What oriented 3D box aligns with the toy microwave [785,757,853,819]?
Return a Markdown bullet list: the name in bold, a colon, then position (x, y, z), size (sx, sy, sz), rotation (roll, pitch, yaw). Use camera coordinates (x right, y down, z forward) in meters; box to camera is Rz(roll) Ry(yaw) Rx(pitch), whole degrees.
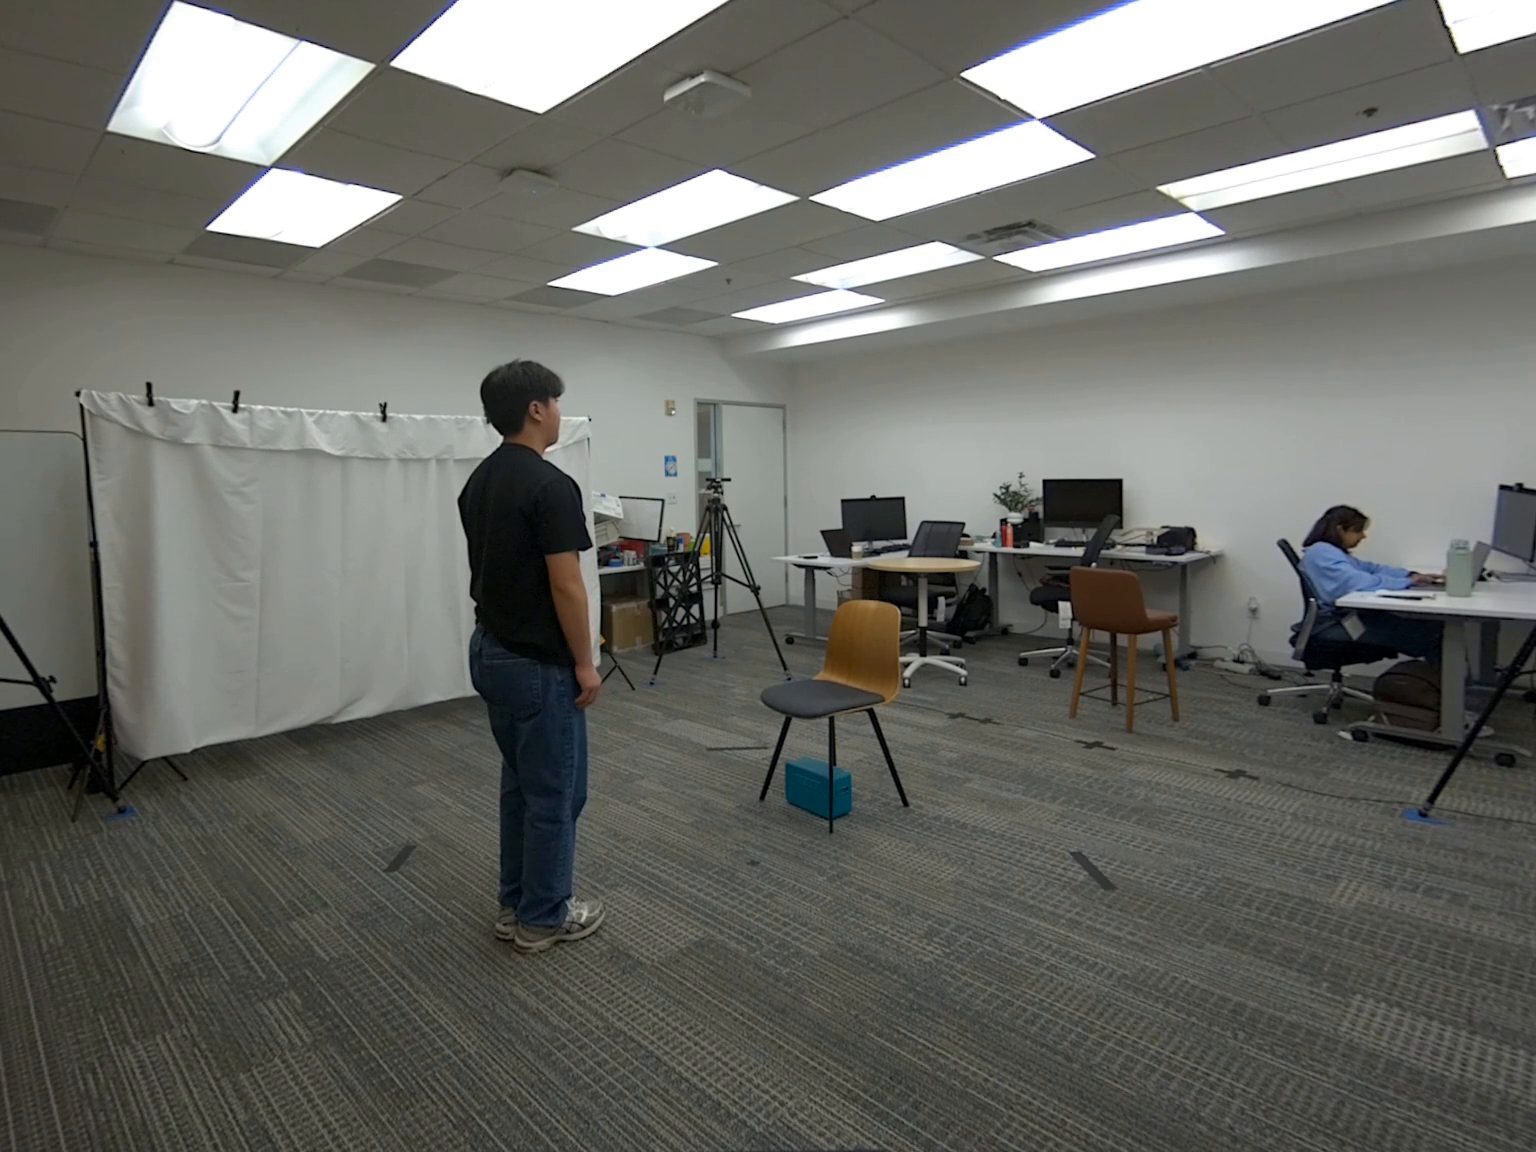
- **toy microwave**: position (0.217, 0.890, 3.610), size (0.148, 0.183, 0.295), rotation (-5, 7, -38)
